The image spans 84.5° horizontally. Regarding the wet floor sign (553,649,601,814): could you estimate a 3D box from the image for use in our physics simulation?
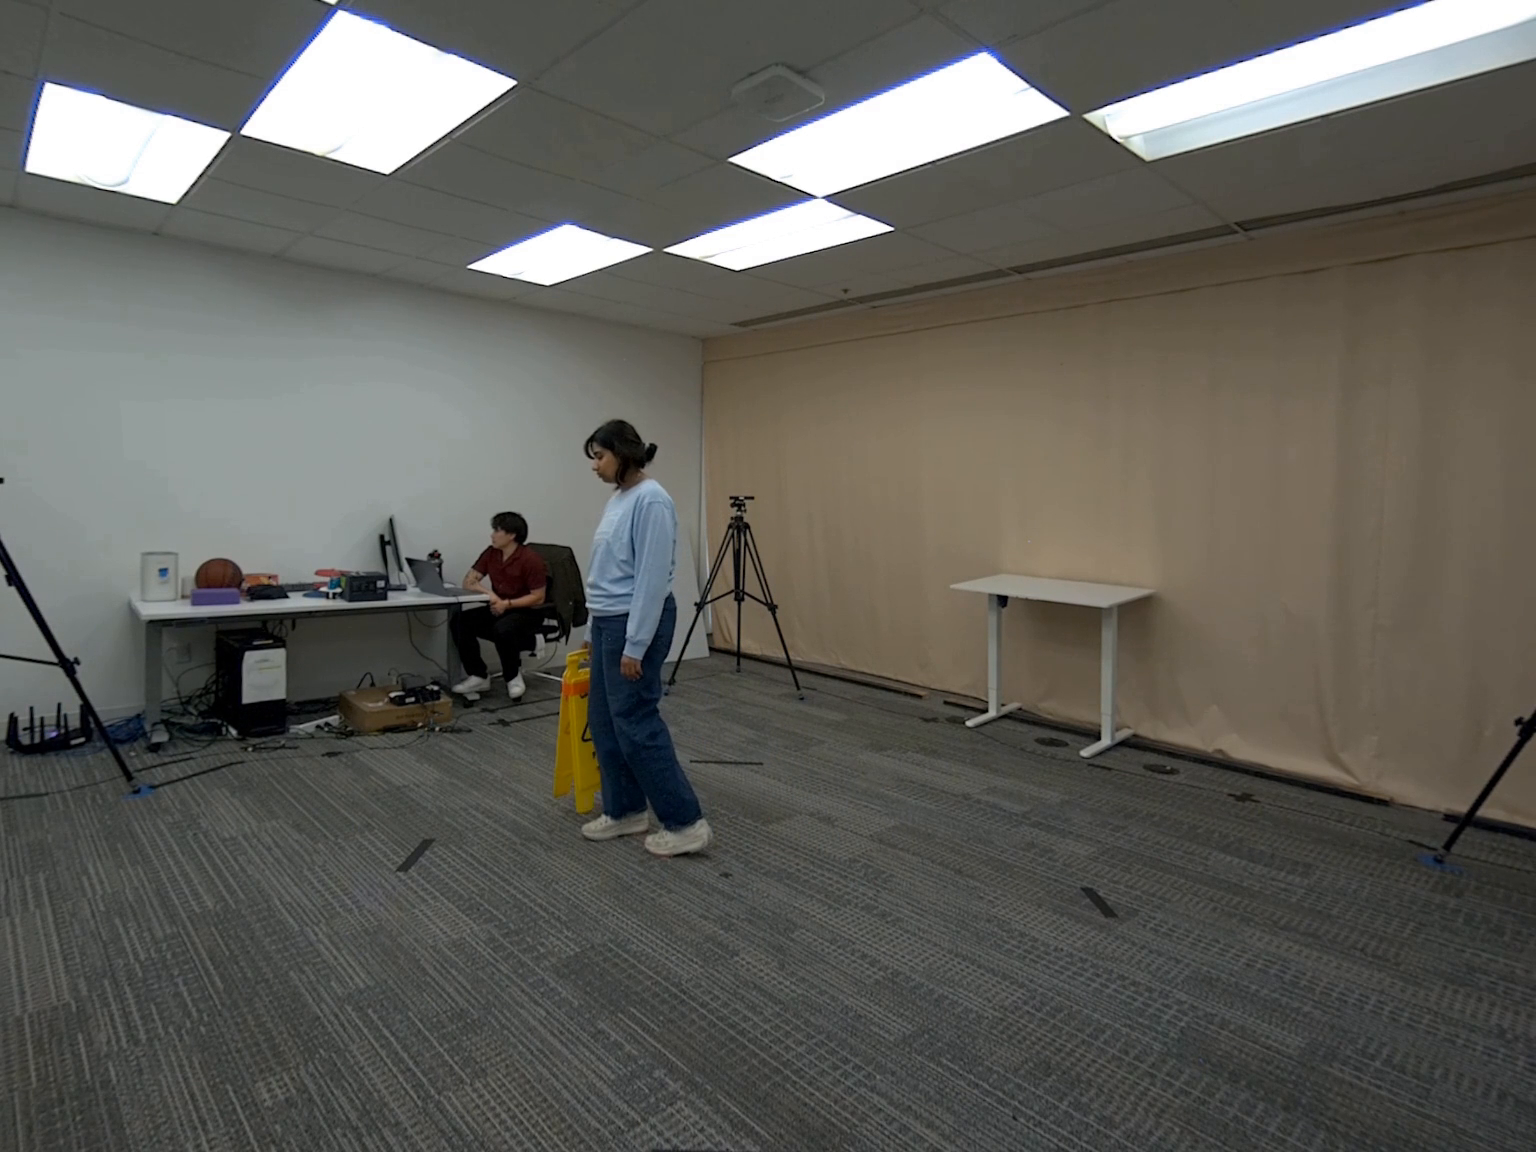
[{"bbox_3d":[-0.775,0.646,3.656,0.276,0.644,0.296,-4,4,-37],"label":"wet floor sign"}]
